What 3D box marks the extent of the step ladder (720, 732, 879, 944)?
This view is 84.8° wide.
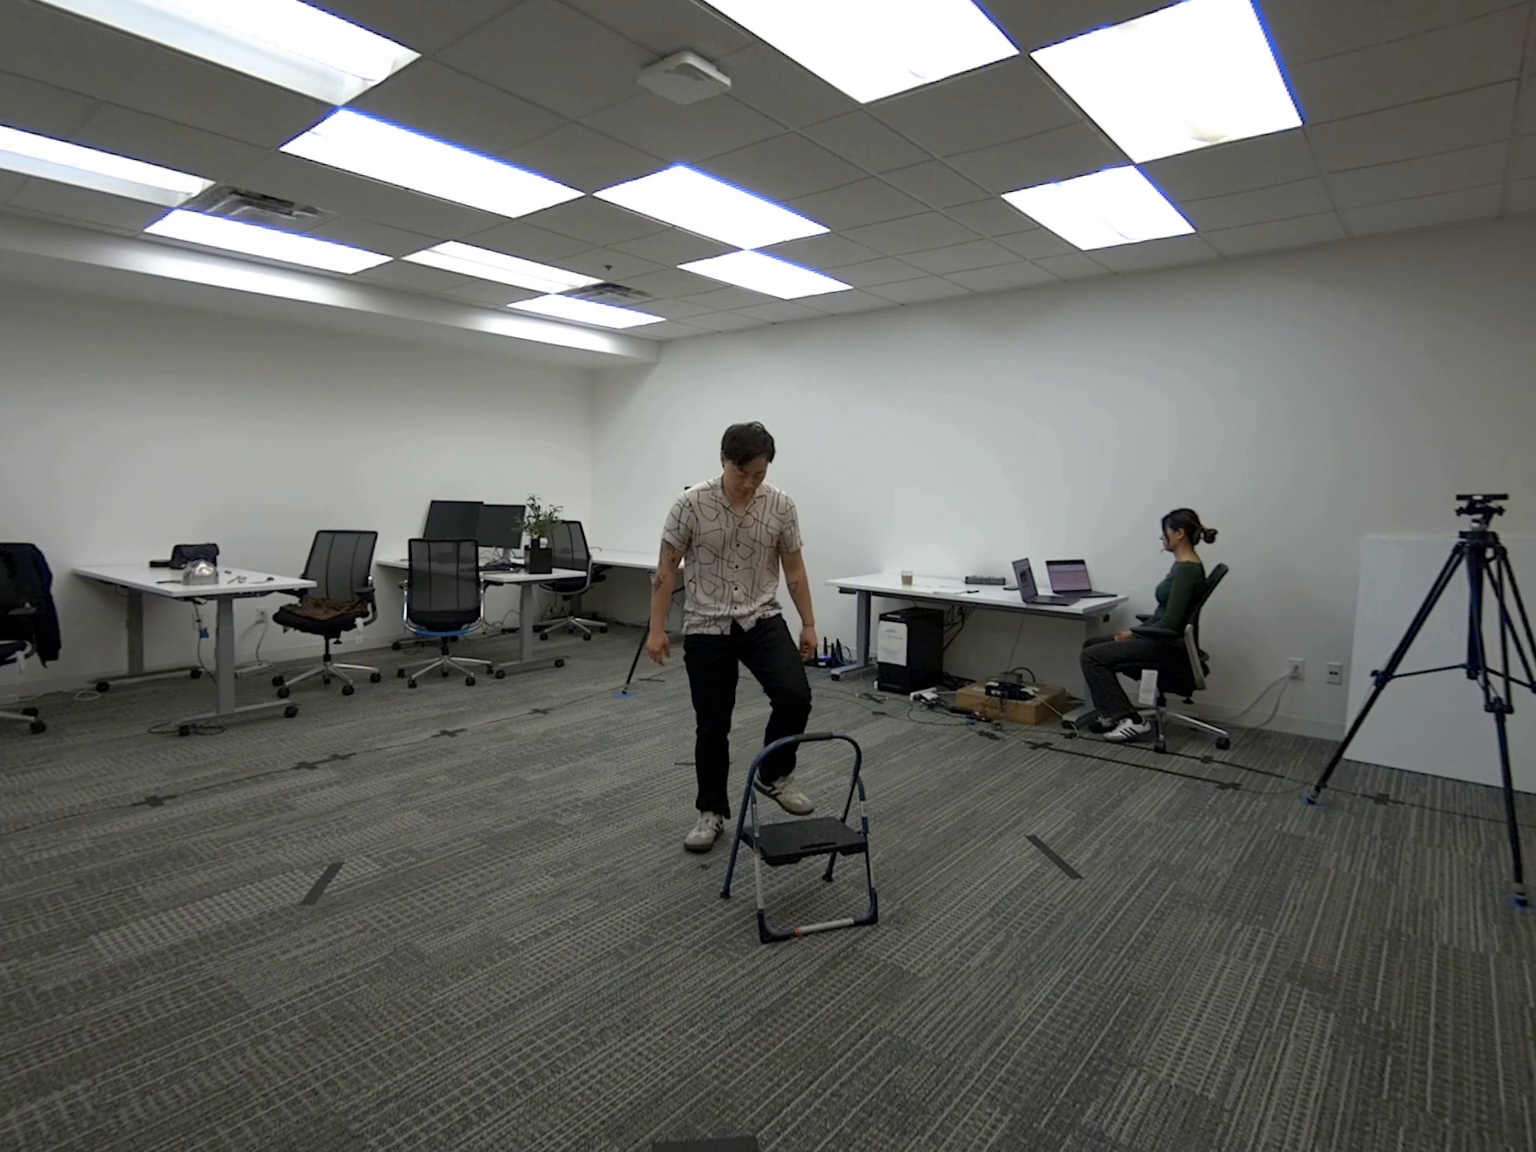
[{"bbox_3d":[0.099,0.796,2.808,0.421,0.604,0.358,-1,4,-23],"label":"step ladder"}]
